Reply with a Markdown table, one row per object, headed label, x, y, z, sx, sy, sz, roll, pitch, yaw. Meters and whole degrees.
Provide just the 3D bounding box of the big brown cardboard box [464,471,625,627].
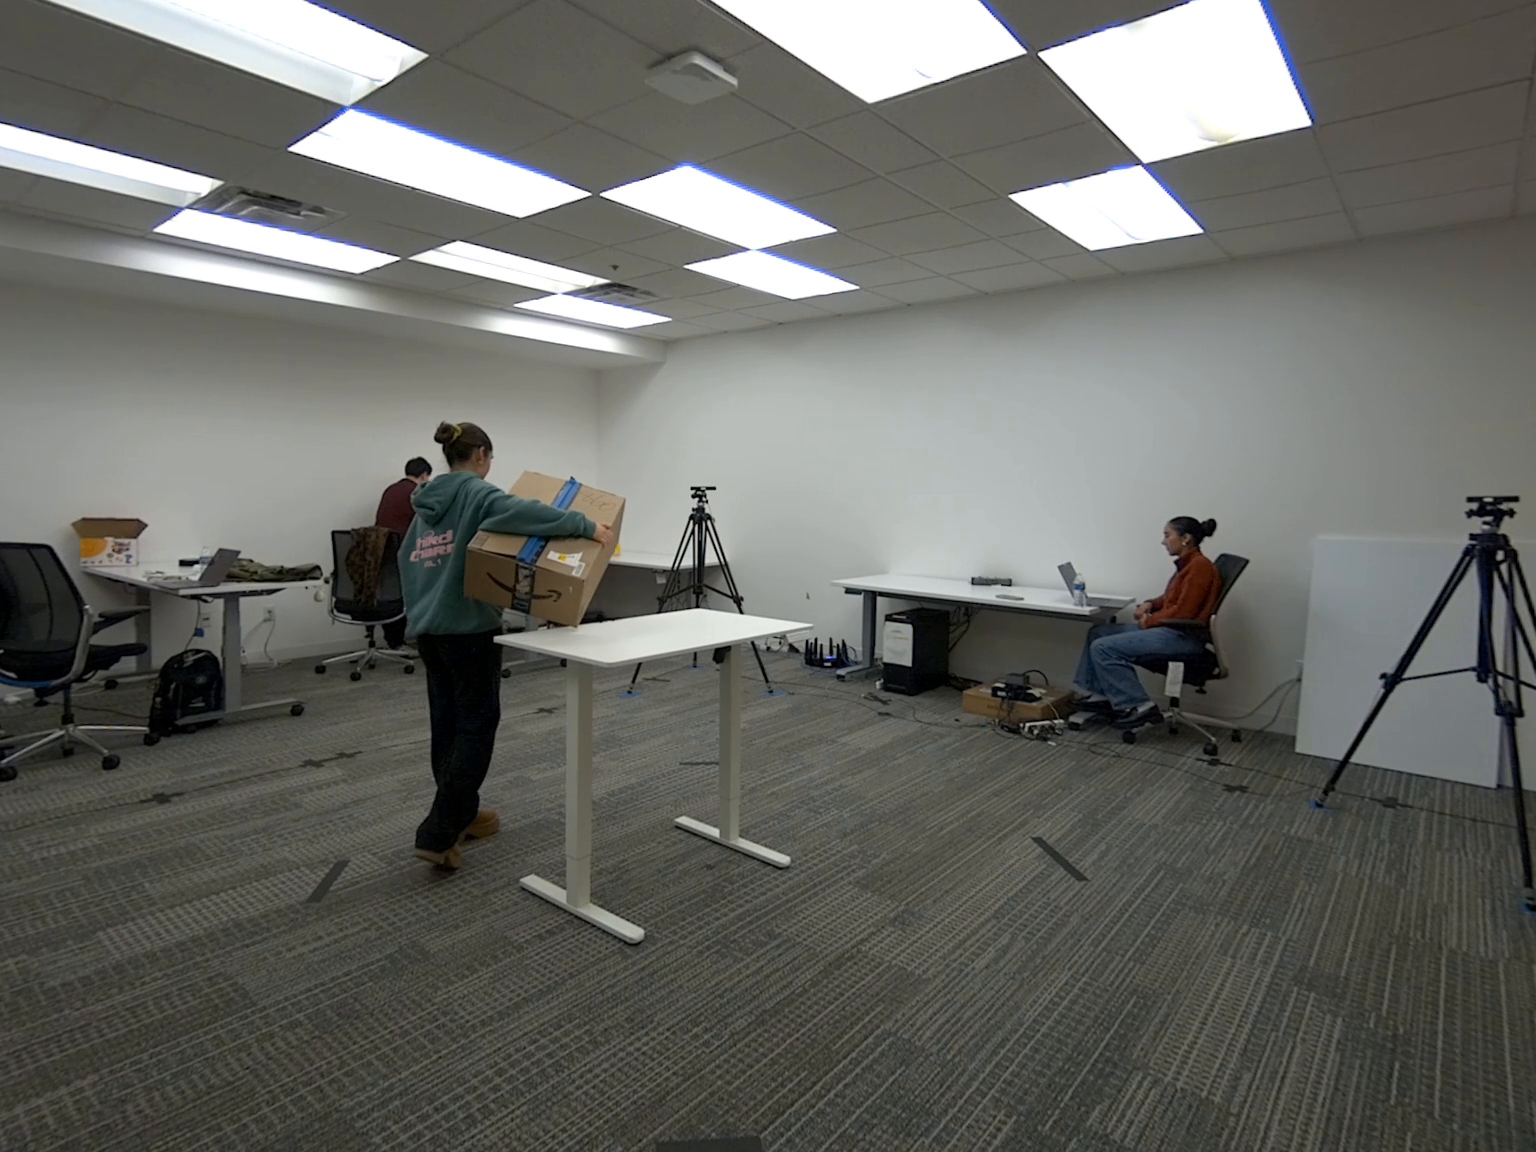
| label | x | y | z | sx | sy | sz | roll | pitch | yaw |
| --- | --- | --- | --- | --- | --- | --- | --- | --- | --- |
| big brown cardboard box | -0.816 | -0.111 | 3.116 | 0.418 | 0.229 | 0.600 | 14 | 34 | -1 |
